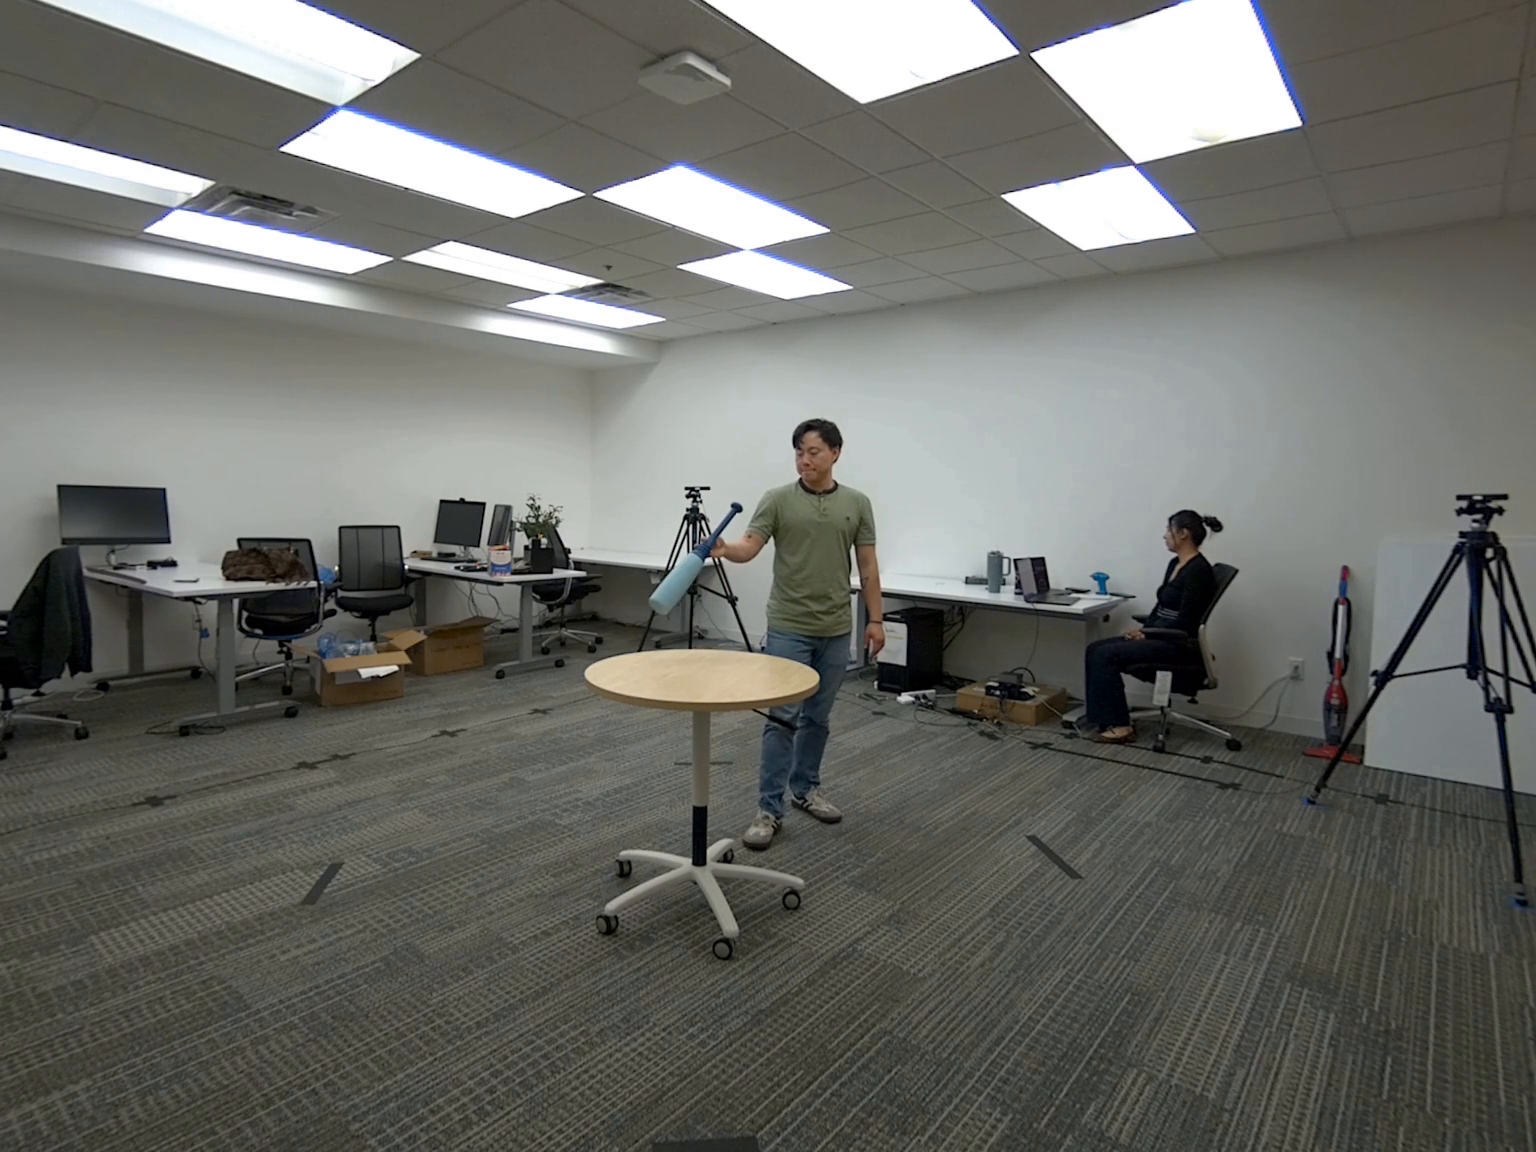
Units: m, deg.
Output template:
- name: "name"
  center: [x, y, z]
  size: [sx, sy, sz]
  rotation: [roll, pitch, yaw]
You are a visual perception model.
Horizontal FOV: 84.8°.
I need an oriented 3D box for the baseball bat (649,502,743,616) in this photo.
- name: "baseball bat"
  center: [-0.265, -0.079, 3.166]
  size: [0.092, 0.545, 0.086]
  rotation: [4, -40, 46]
